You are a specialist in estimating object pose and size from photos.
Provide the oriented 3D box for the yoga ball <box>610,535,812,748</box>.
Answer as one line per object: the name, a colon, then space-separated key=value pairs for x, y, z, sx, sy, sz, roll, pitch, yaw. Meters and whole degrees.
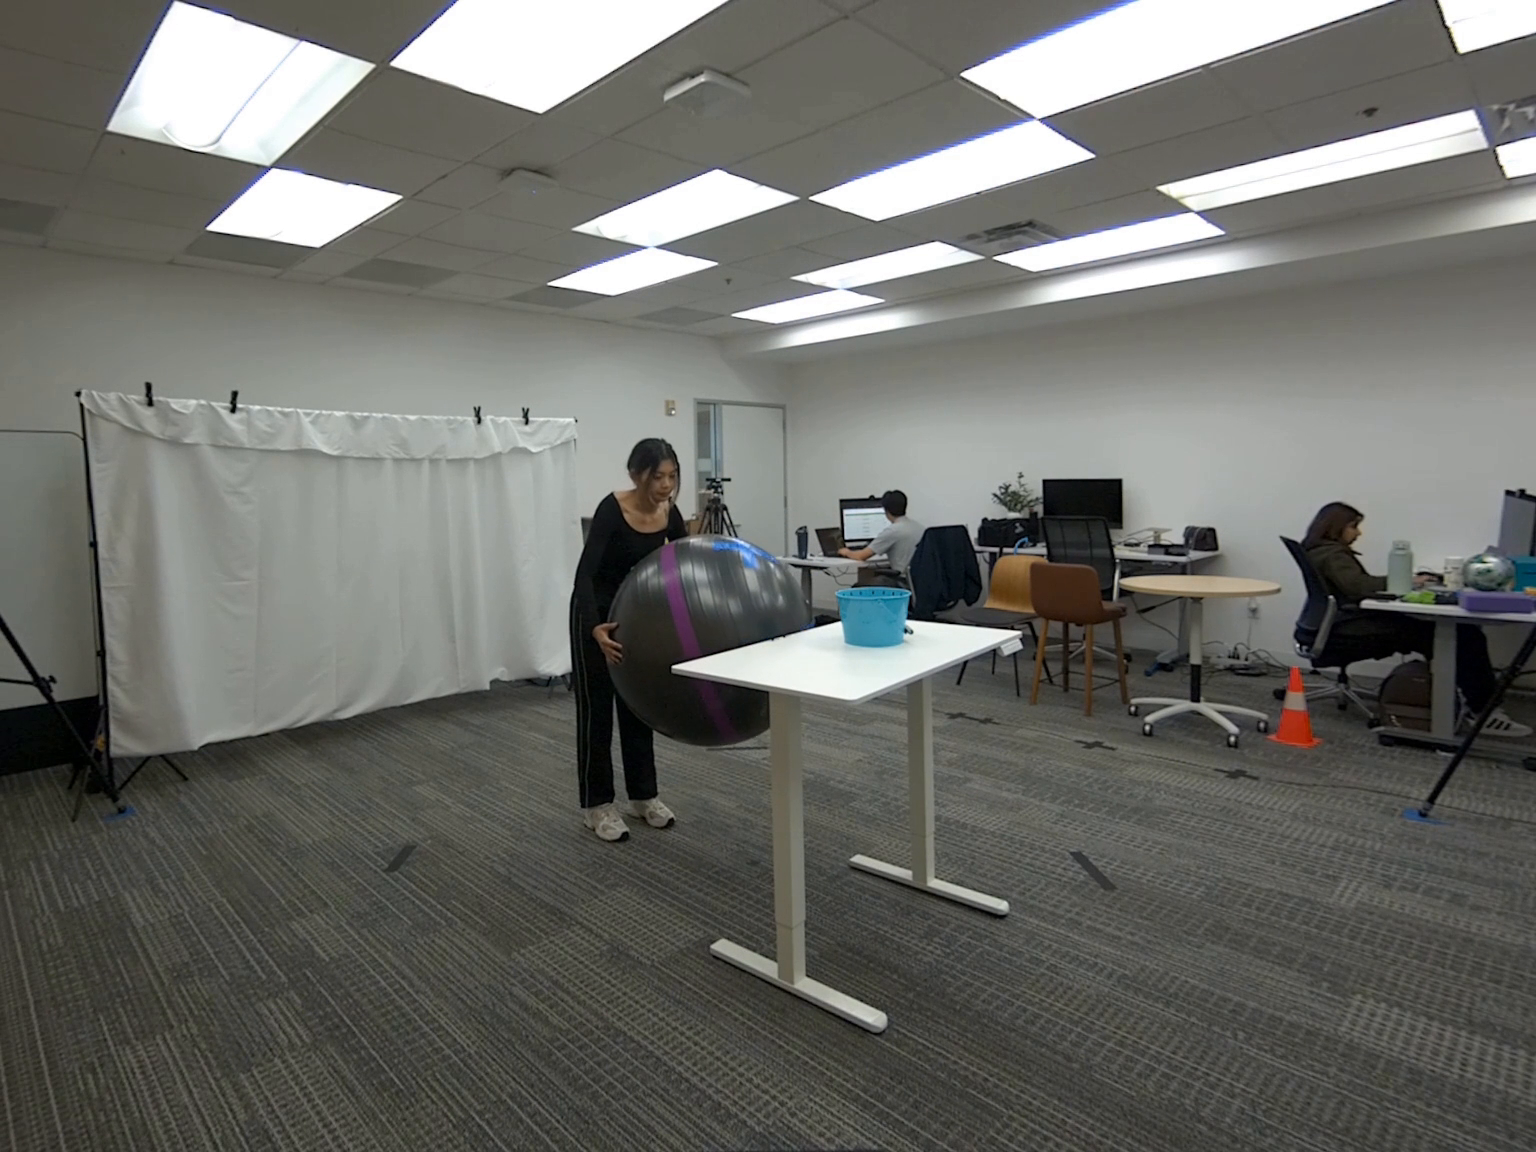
yoga ball: x=-0.211 y=0.234 z=3.103 sx=0.757 sy=0.755 sz=0.762 roll=-1 pitch=5 yaw=-2
